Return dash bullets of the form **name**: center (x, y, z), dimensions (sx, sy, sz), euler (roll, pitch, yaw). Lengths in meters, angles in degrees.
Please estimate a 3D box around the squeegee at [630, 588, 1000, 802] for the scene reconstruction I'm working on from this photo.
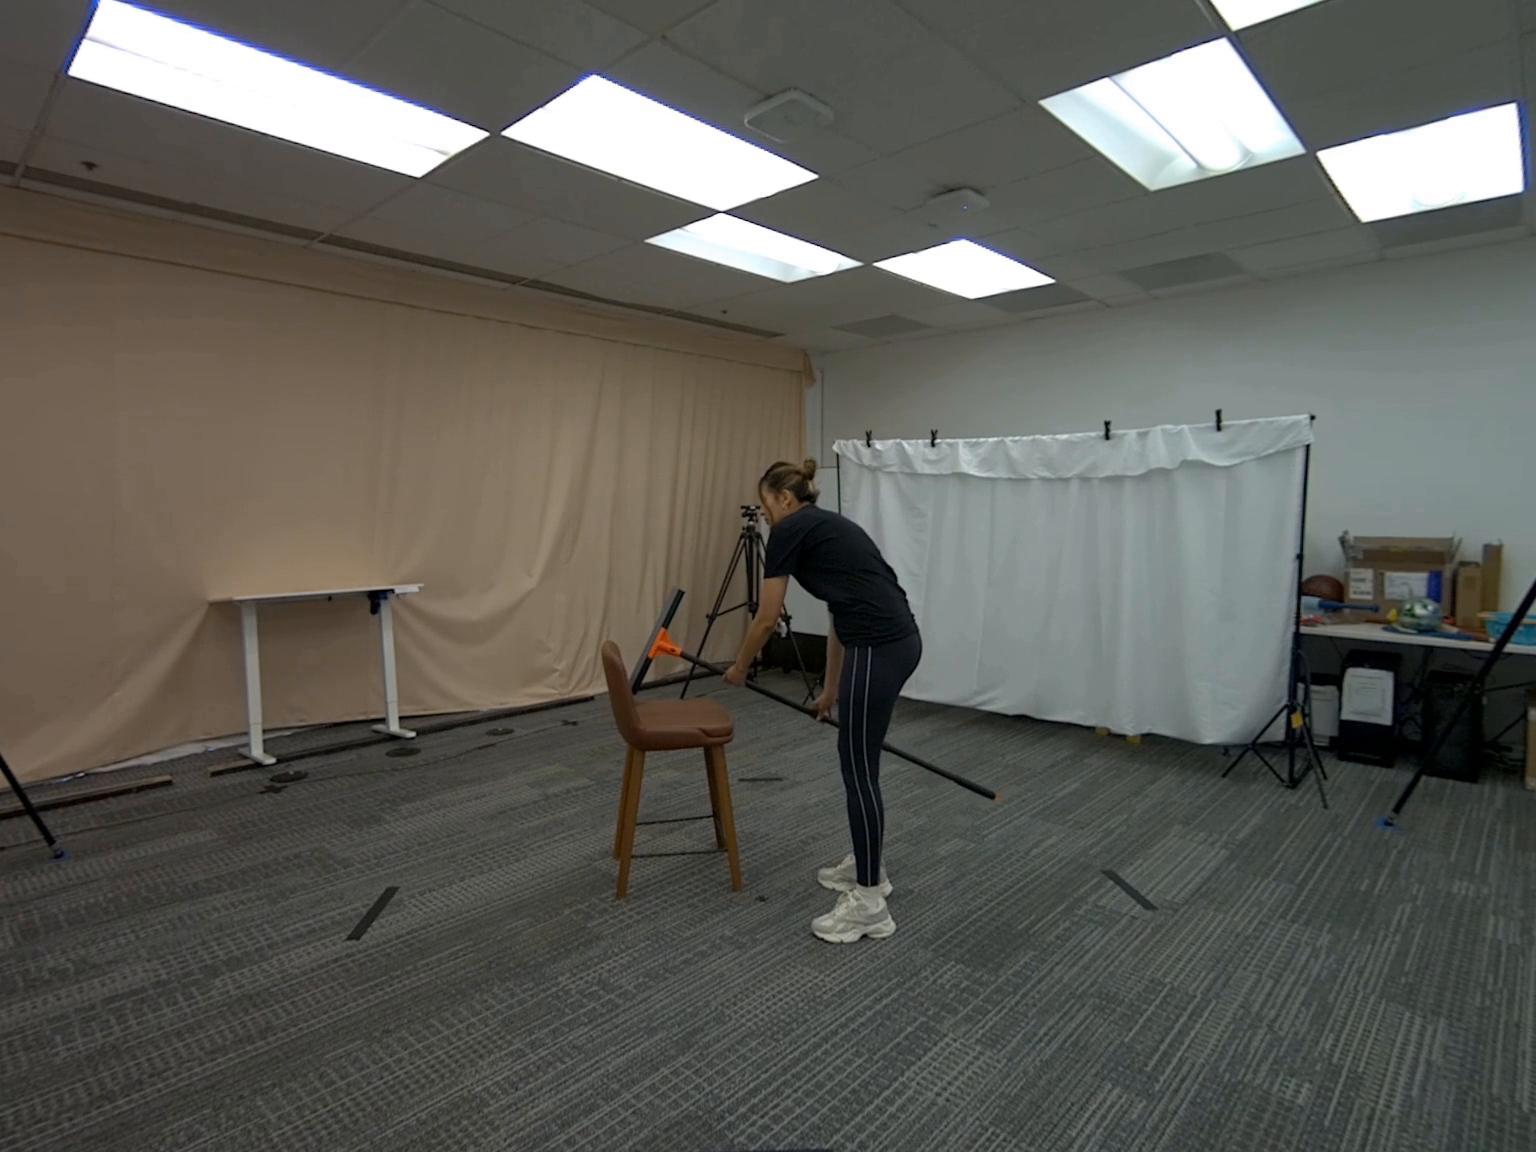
- **squeegee**: center (0.254, 0.571, 3.281), dimensions (1.526, 0.437, 0.053), euler (24, 15, -6)
